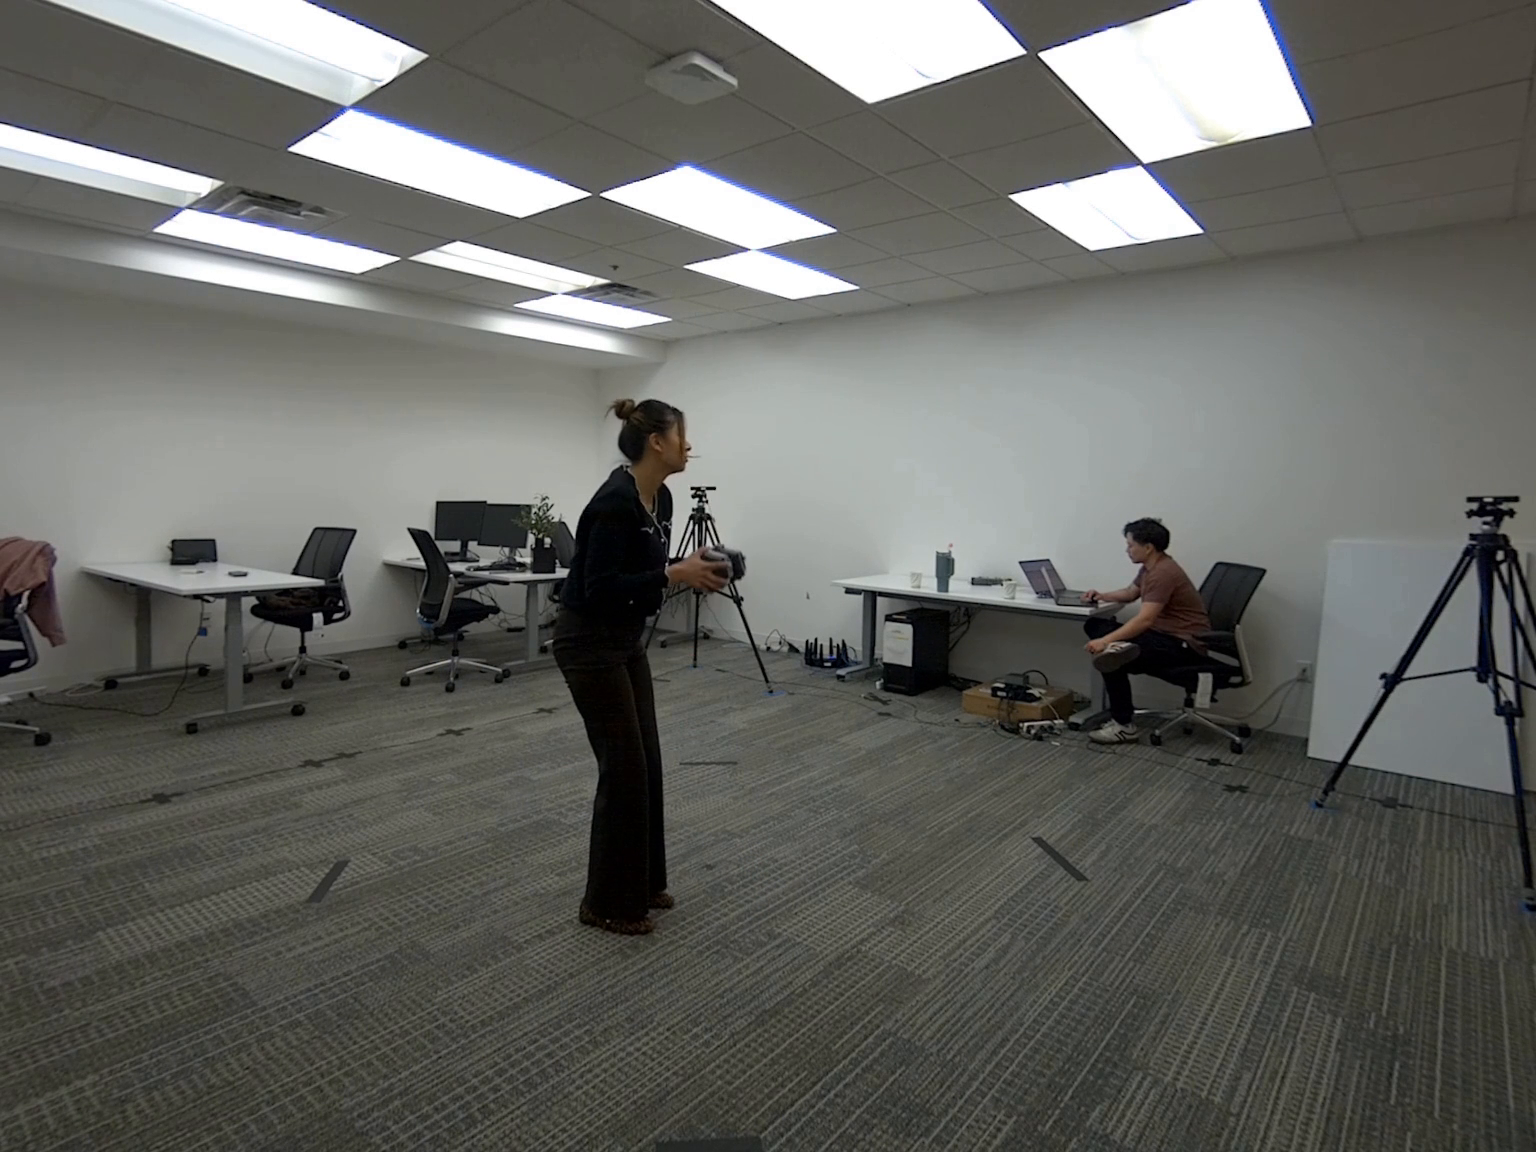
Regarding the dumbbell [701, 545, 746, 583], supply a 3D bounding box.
[{"bbox_3d":[-0.175,-0.019,2.665,0.109,0.123,0.292,-12,4,8],"label":"dumbbell"}]
